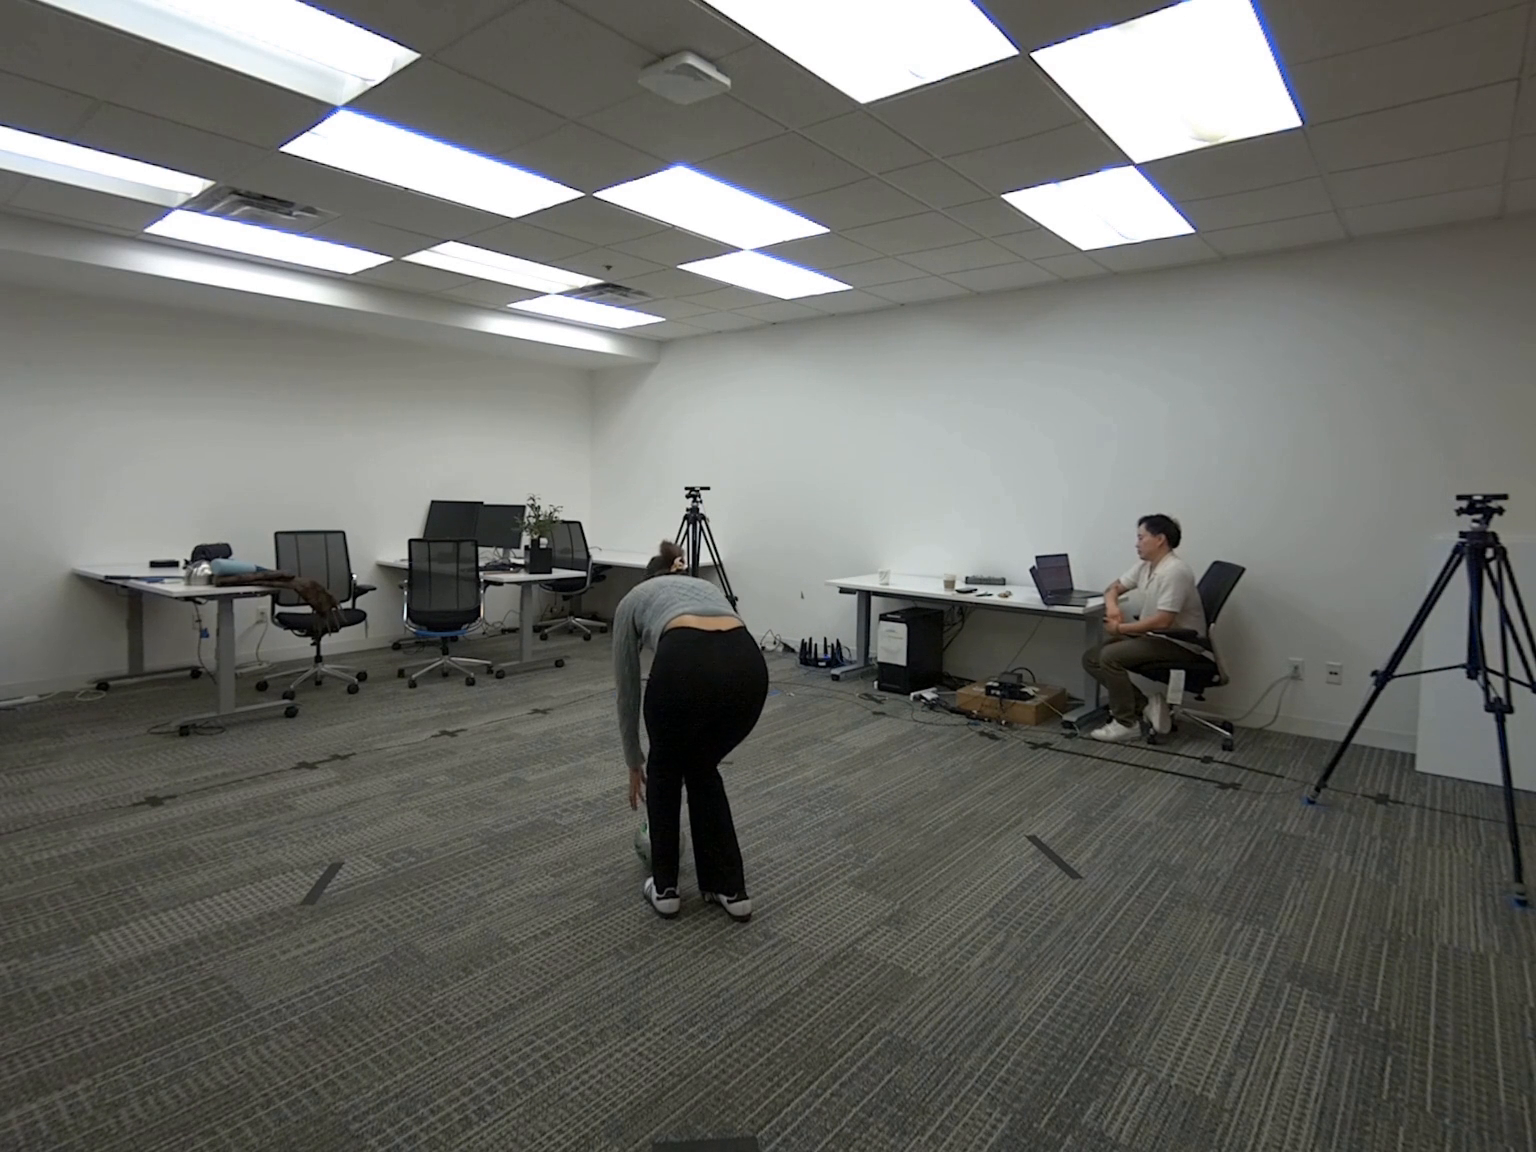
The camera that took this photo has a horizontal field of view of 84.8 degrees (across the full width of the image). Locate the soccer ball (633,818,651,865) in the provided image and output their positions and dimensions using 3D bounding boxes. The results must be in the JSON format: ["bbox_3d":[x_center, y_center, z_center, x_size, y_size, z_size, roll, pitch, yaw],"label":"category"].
[{"bbox_3d":[-0.397,0.962,3.109,0.187,0.187,0.188,0,4,-2],"label":"soccer ball"}]
